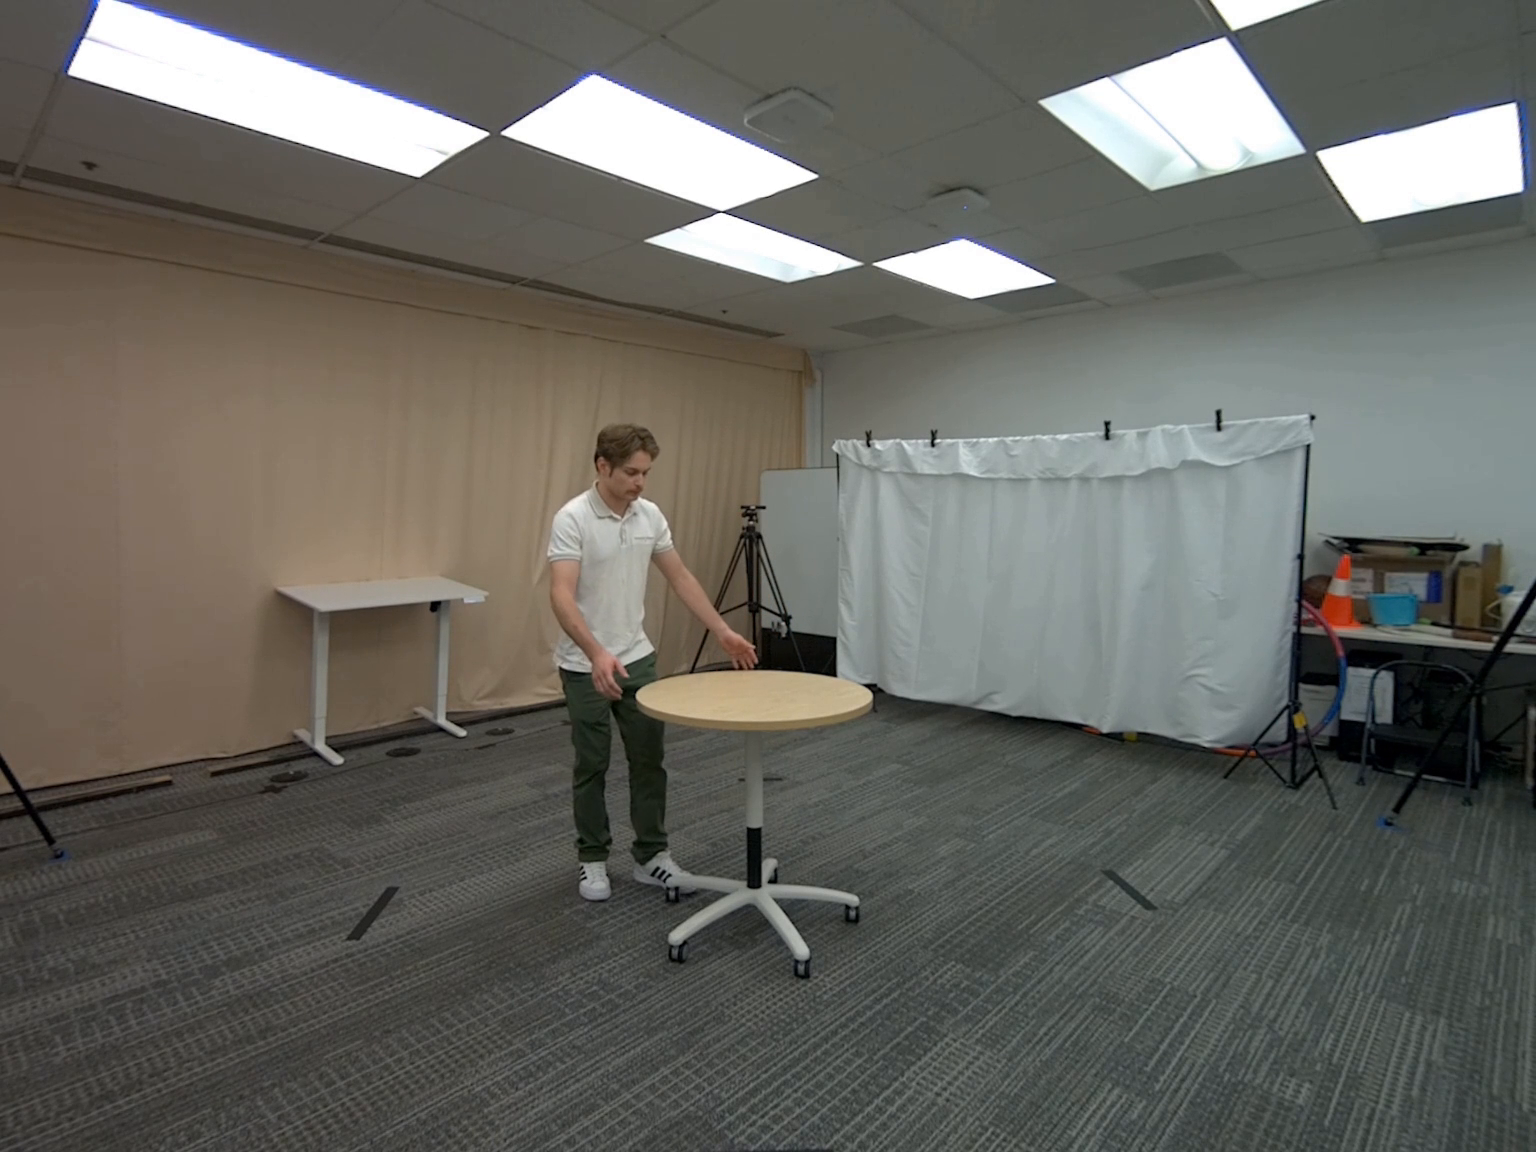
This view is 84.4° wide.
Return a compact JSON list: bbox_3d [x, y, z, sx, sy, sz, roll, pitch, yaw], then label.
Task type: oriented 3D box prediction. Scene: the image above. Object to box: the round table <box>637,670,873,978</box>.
[{"bbox_3d":[-0.037,0.774,2.760,0.763,0.792,0.766,-1,4,-2],"label":"round table"}]
